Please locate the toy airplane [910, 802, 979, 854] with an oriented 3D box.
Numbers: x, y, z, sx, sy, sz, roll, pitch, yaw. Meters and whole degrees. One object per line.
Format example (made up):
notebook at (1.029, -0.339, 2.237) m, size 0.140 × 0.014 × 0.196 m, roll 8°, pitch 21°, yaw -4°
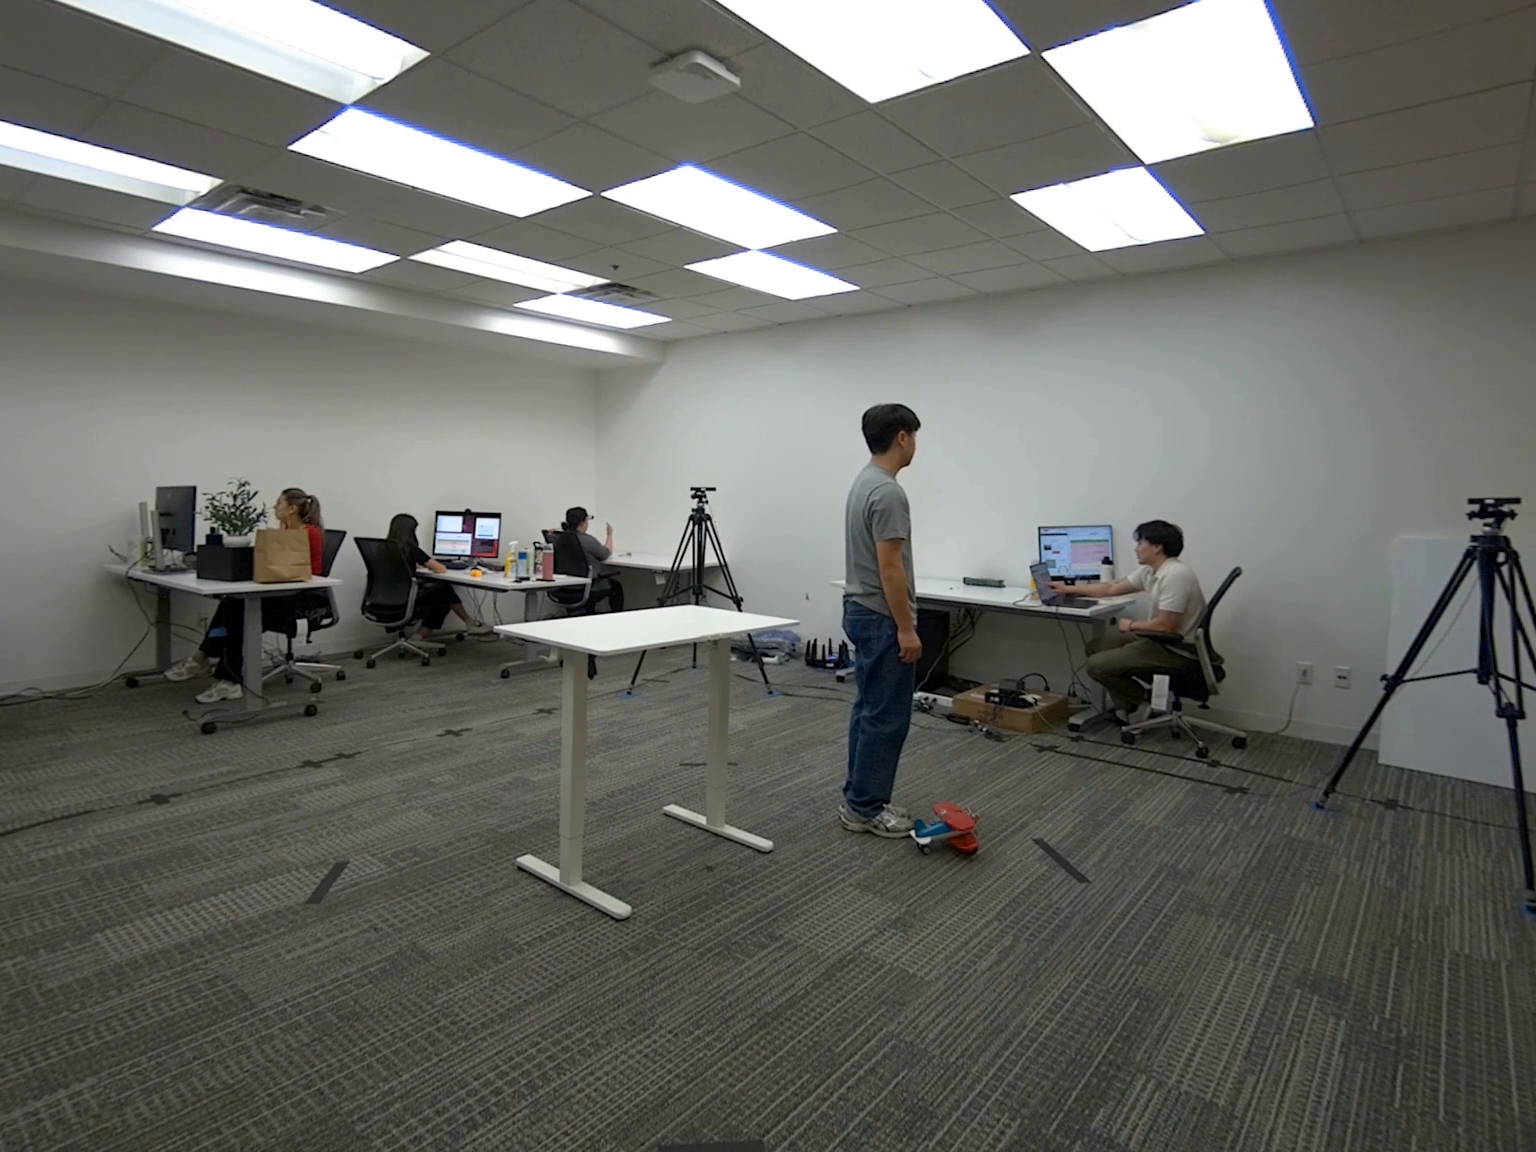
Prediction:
toy airplane at (0.694, 0.991, 3.300) m, size 0.251 × 0.156 × 0.260 m, roll -1°, pitch 5°, yaw -41°
